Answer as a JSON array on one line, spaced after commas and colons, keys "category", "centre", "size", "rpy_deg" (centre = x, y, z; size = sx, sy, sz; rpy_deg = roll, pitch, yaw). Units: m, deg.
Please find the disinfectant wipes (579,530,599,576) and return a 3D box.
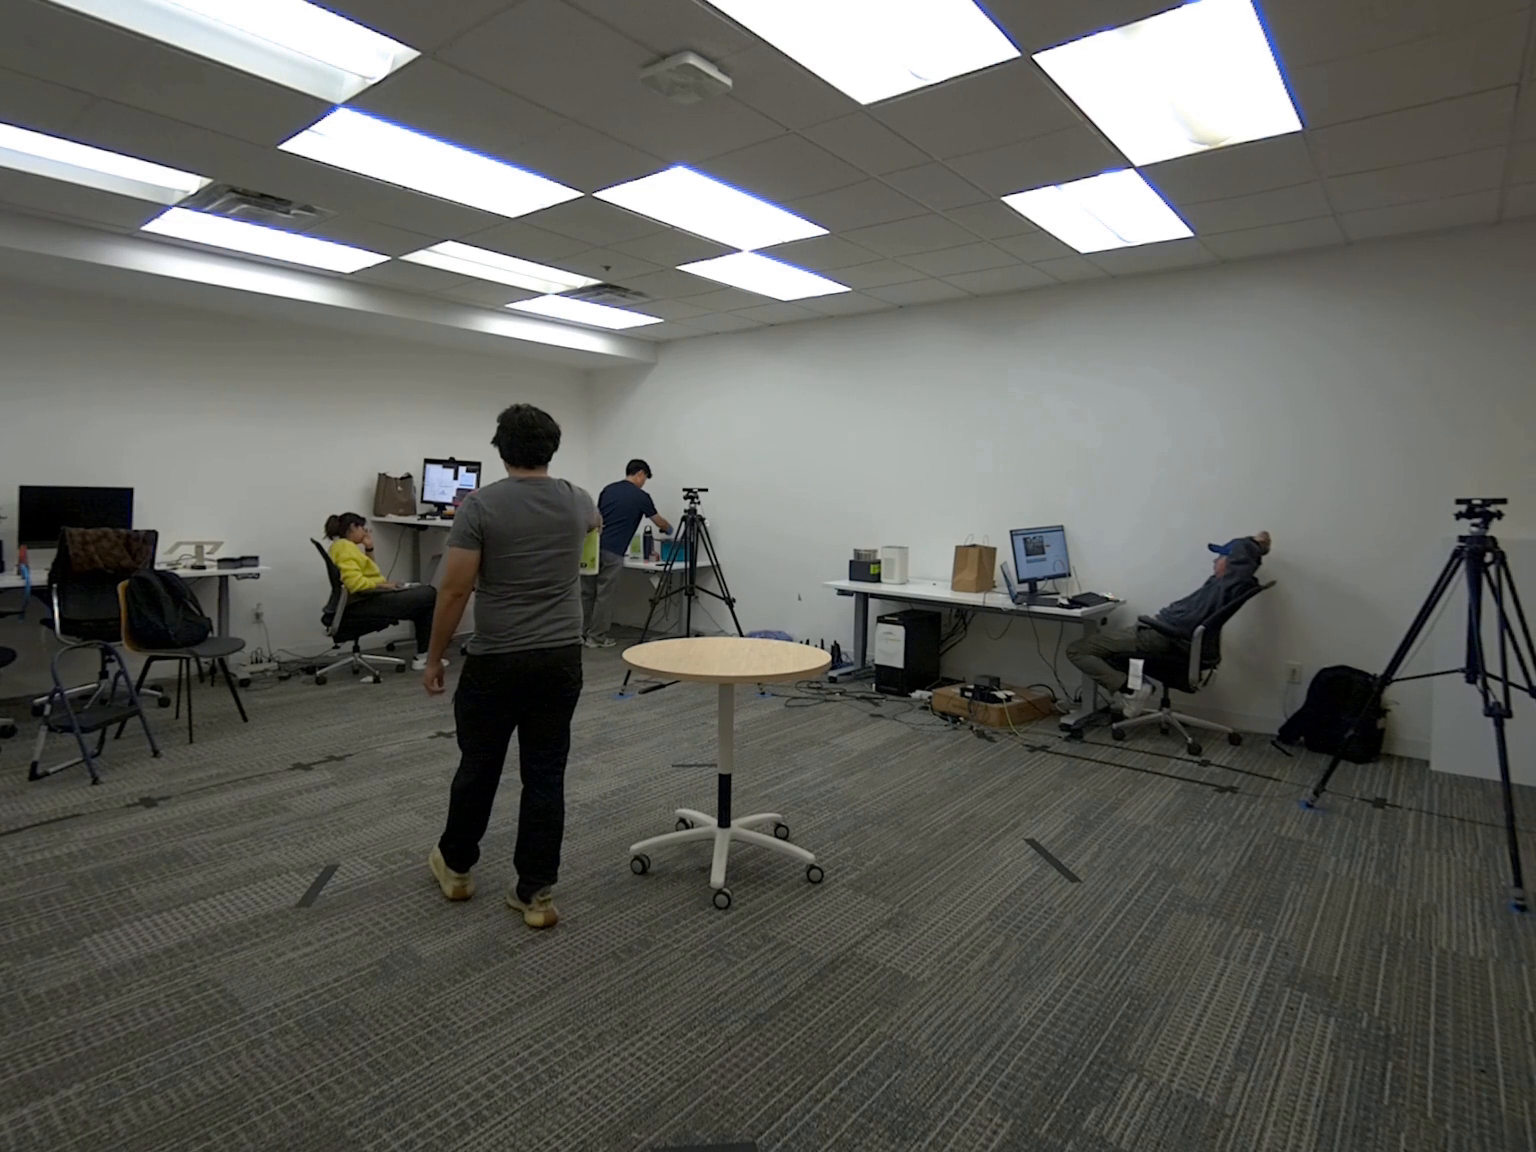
[{"category": "disinfectant wipes", "centre": [-0.756, -0.118, 3.456], "size": [0.117, 0.217, 0.118], "rpy_deg": [2, 3, -2]}]
